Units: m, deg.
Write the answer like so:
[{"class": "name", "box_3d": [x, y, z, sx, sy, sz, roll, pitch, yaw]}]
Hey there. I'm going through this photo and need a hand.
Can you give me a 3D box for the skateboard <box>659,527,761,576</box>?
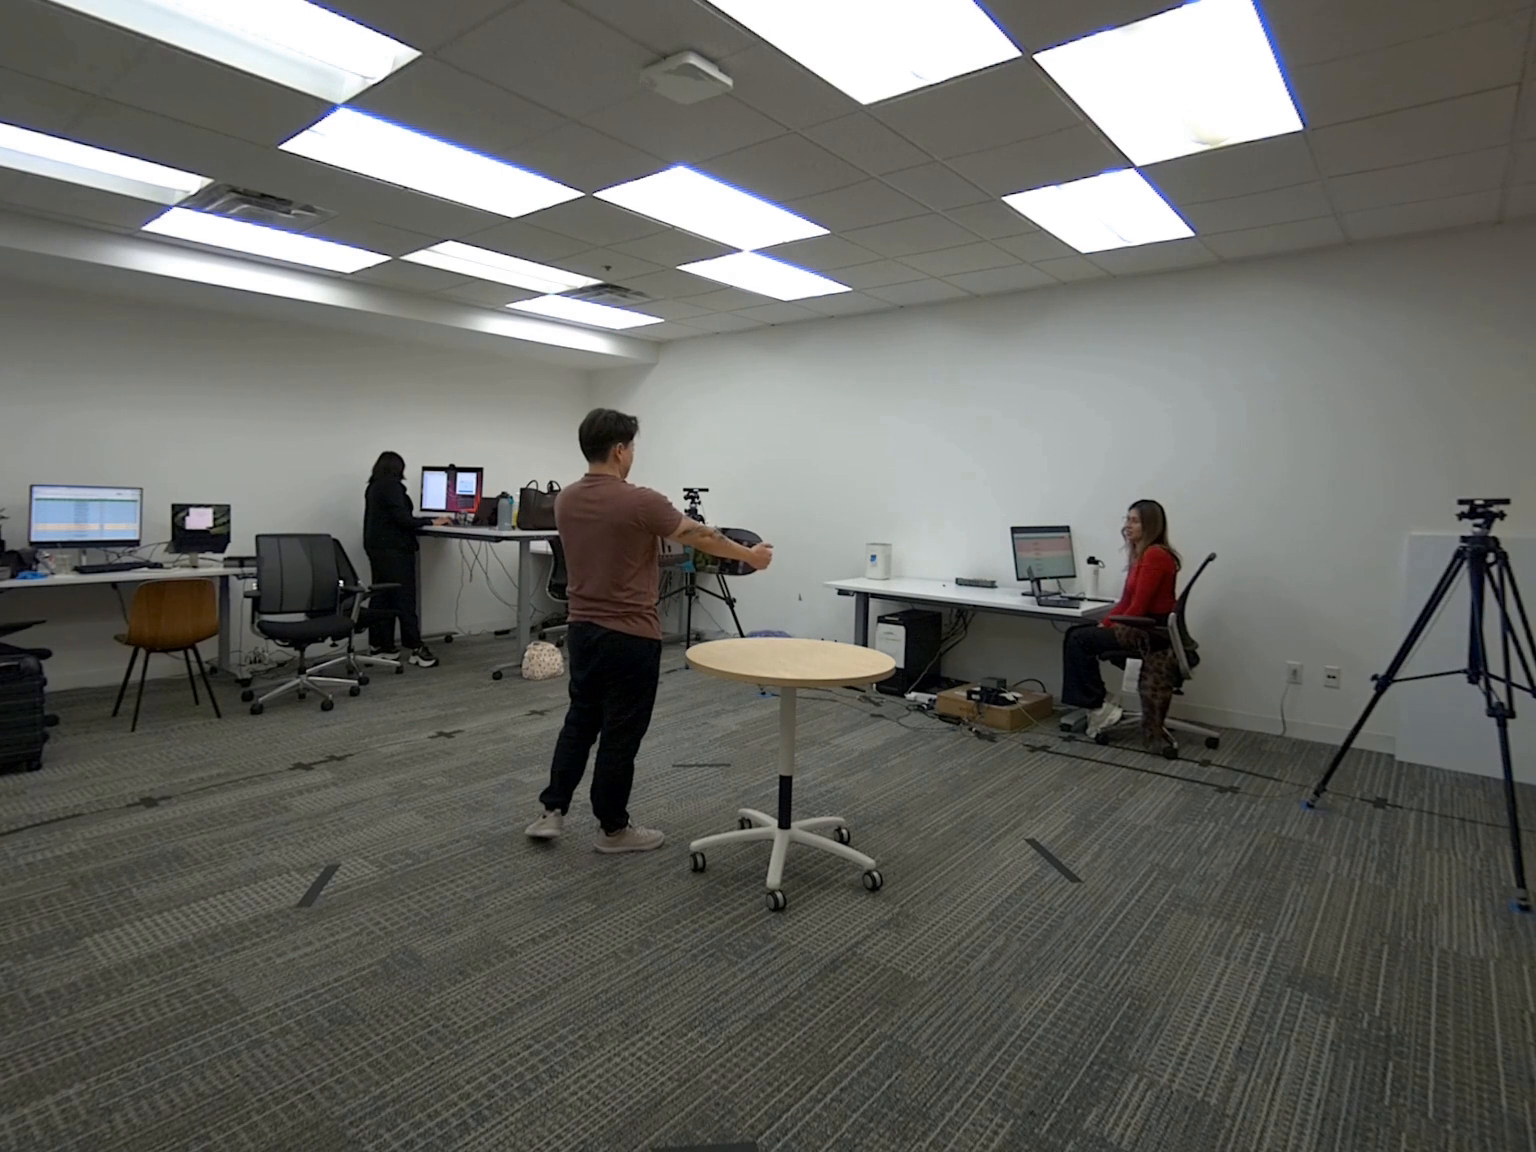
[{"class": "skateboard", "box_3d": [-0.363, -0.110, 3.522, 0.809, 0.192, 0.107, 5, 7, 31]}]
